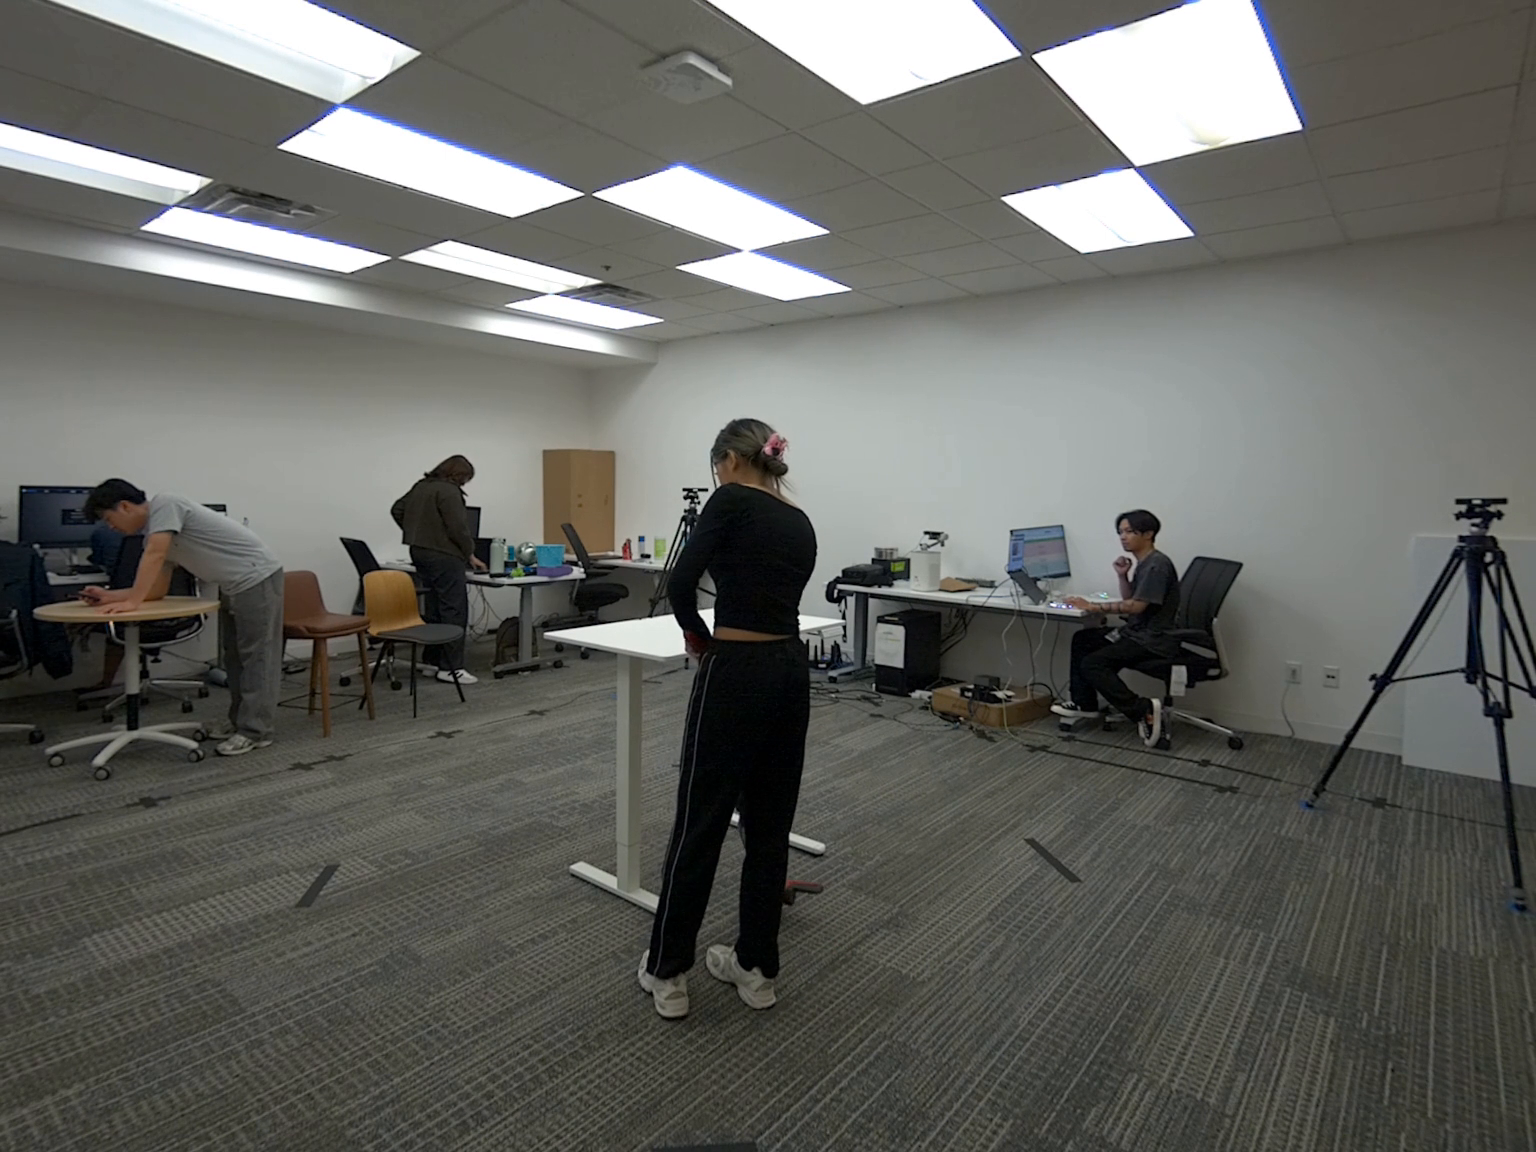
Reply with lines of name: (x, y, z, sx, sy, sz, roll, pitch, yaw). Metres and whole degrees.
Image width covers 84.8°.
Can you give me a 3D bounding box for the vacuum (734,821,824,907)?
vacuum: (-0.101, 0.584, 2.507, 0.259, 1.019, 0.144, -1, 30, 28)
